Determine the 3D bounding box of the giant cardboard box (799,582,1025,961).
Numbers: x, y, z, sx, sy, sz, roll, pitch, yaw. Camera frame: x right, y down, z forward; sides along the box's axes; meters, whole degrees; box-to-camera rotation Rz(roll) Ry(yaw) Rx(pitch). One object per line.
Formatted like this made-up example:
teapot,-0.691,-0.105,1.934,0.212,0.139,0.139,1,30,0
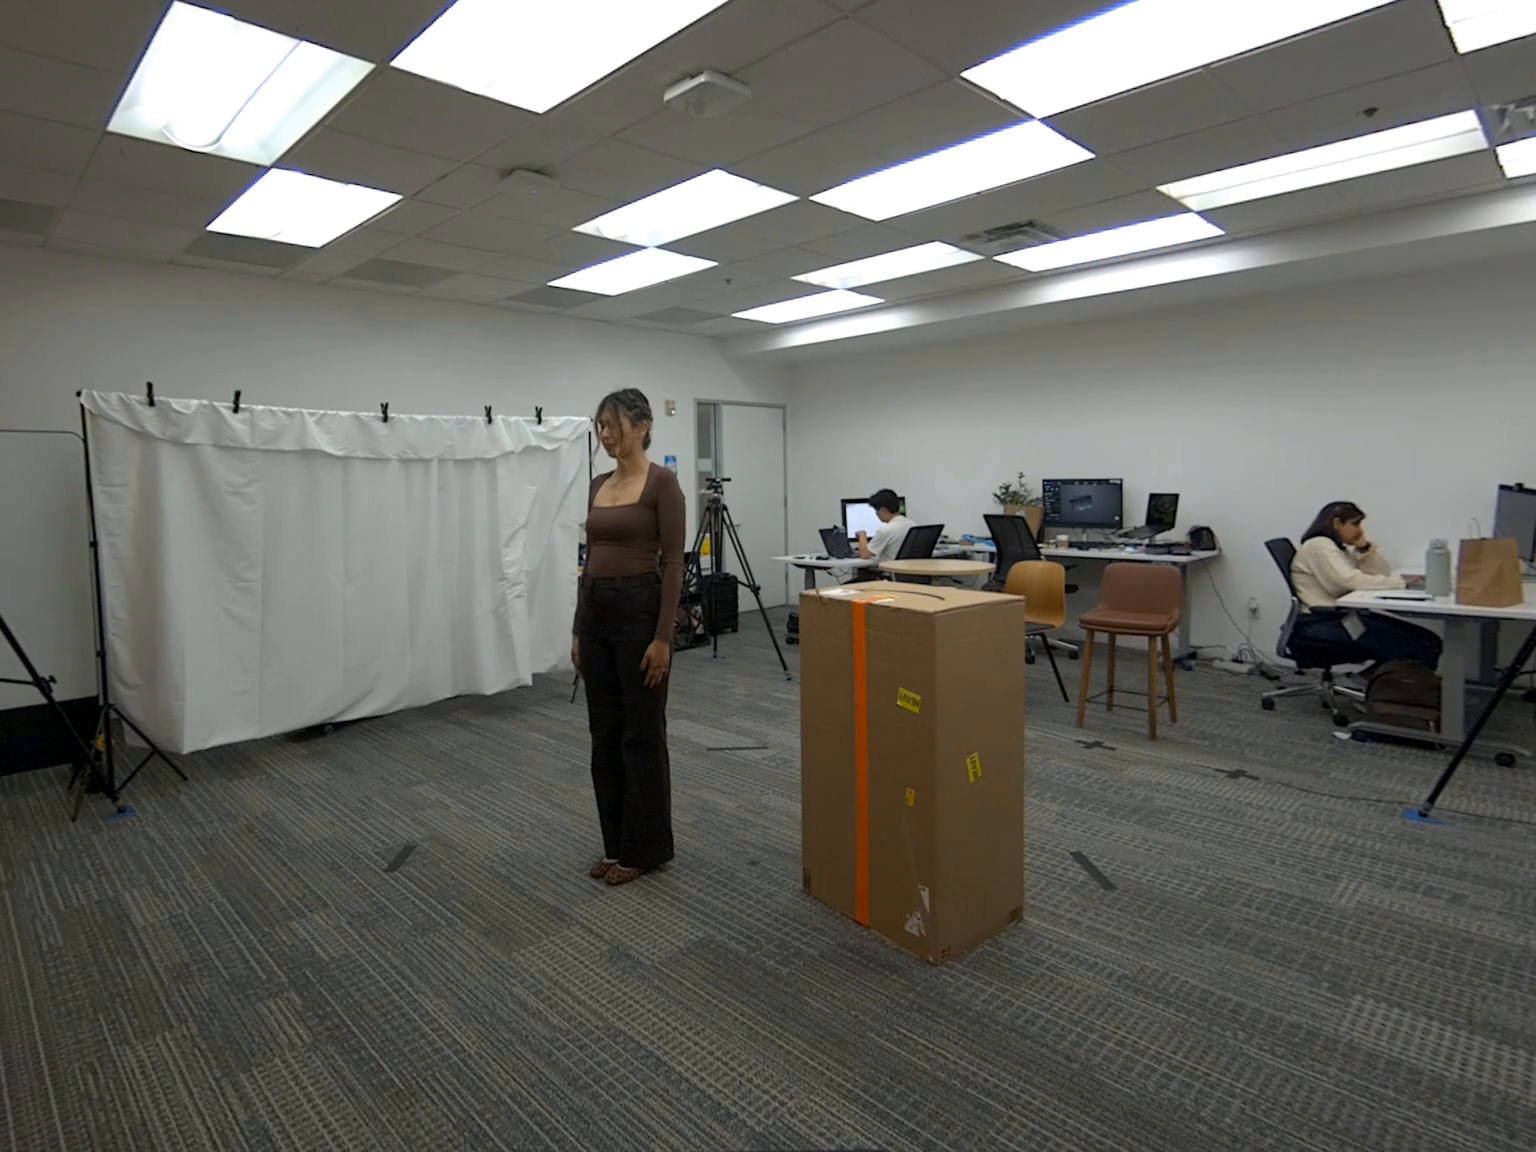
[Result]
giant cardboard box,0.455,0.566,2.742,0.435,1.023,0.601,-5,5,-36
